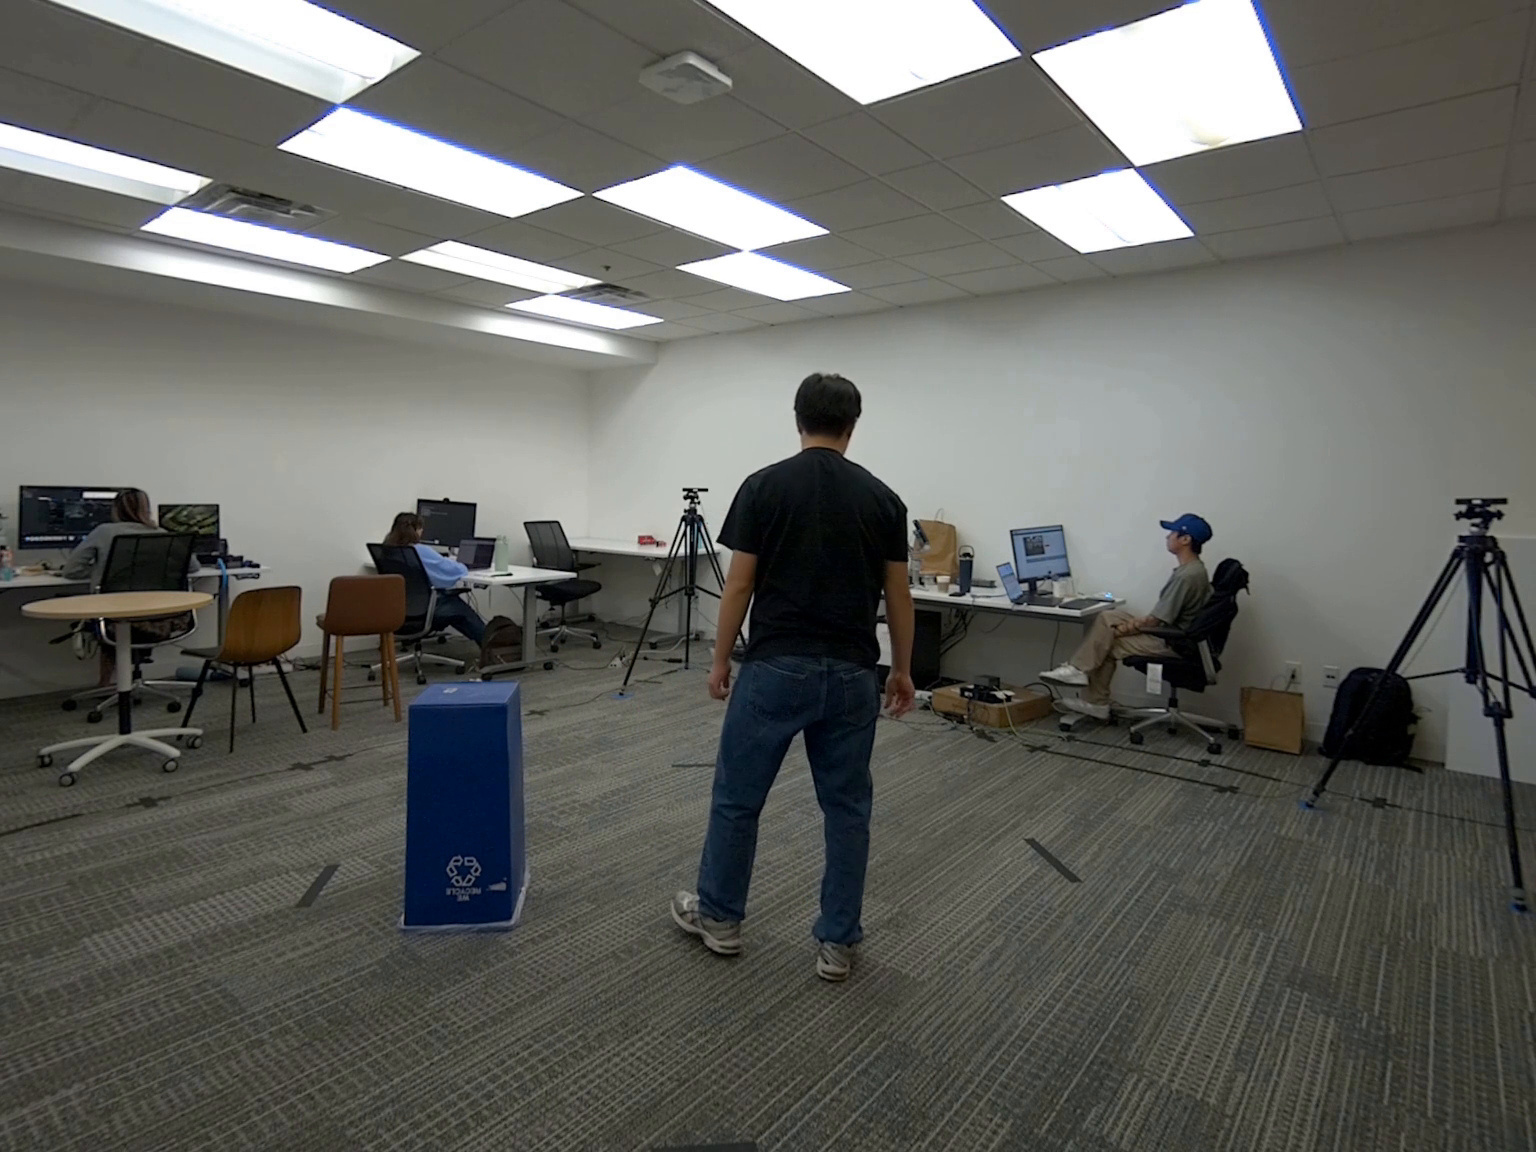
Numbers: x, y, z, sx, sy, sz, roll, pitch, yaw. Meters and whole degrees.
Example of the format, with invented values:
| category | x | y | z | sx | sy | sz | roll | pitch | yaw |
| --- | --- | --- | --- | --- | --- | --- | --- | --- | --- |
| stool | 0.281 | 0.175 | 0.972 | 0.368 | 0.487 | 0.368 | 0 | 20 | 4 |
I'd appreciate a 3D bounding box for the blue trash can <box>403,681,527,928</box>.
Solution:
| category | x | y | z | sx | sy | sz | roll | pitch | yaw |
| --- | --- | --- | --- | --- | --- | --- | --- | --- | --- |
| blue trash can | -1.011 | 0.738 | 2.806 | 0.371 | 0.711 | 0.382 | -1 | 3 | -7 |
